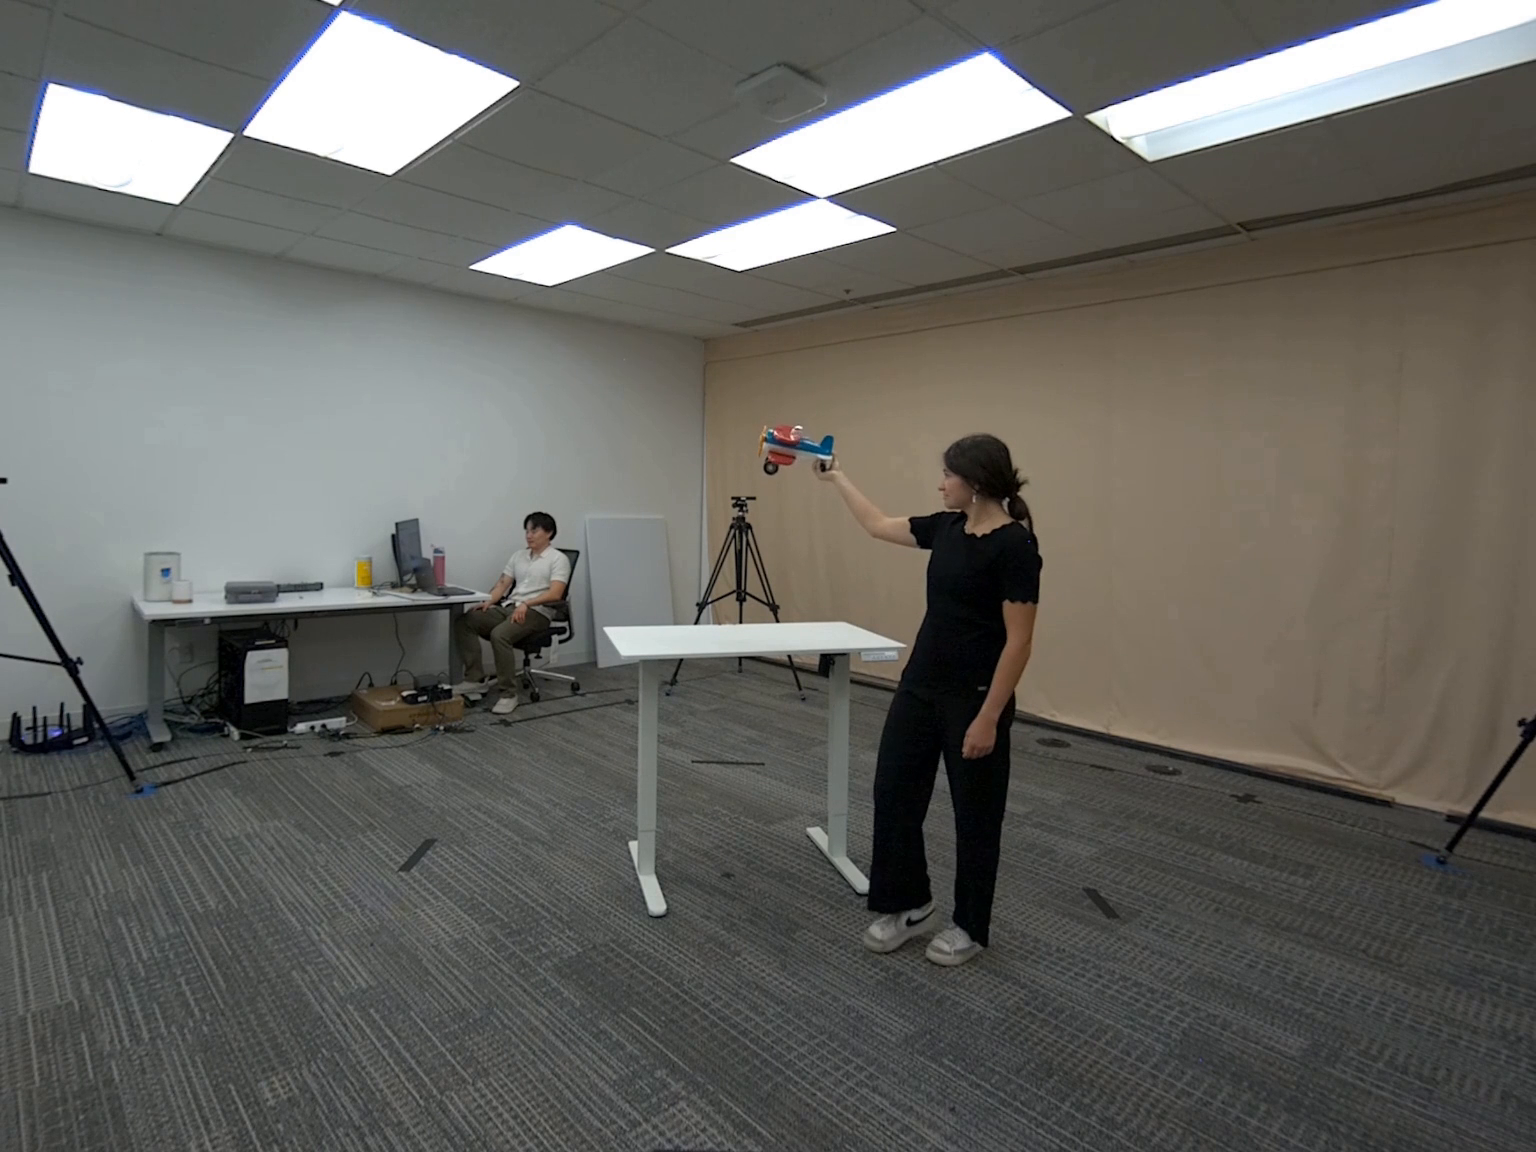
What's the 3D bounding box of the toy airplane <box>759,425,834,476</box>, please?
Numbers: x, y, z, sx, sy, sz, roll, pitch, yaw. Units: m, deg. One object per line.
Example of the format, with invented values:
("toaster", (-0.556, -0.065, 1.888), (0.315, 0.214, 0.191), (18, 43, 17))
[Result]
("toy airplane", (0.081, -0.445, 2.983), (0.256, 0.154, 0.258), (-10, 20, -20))
